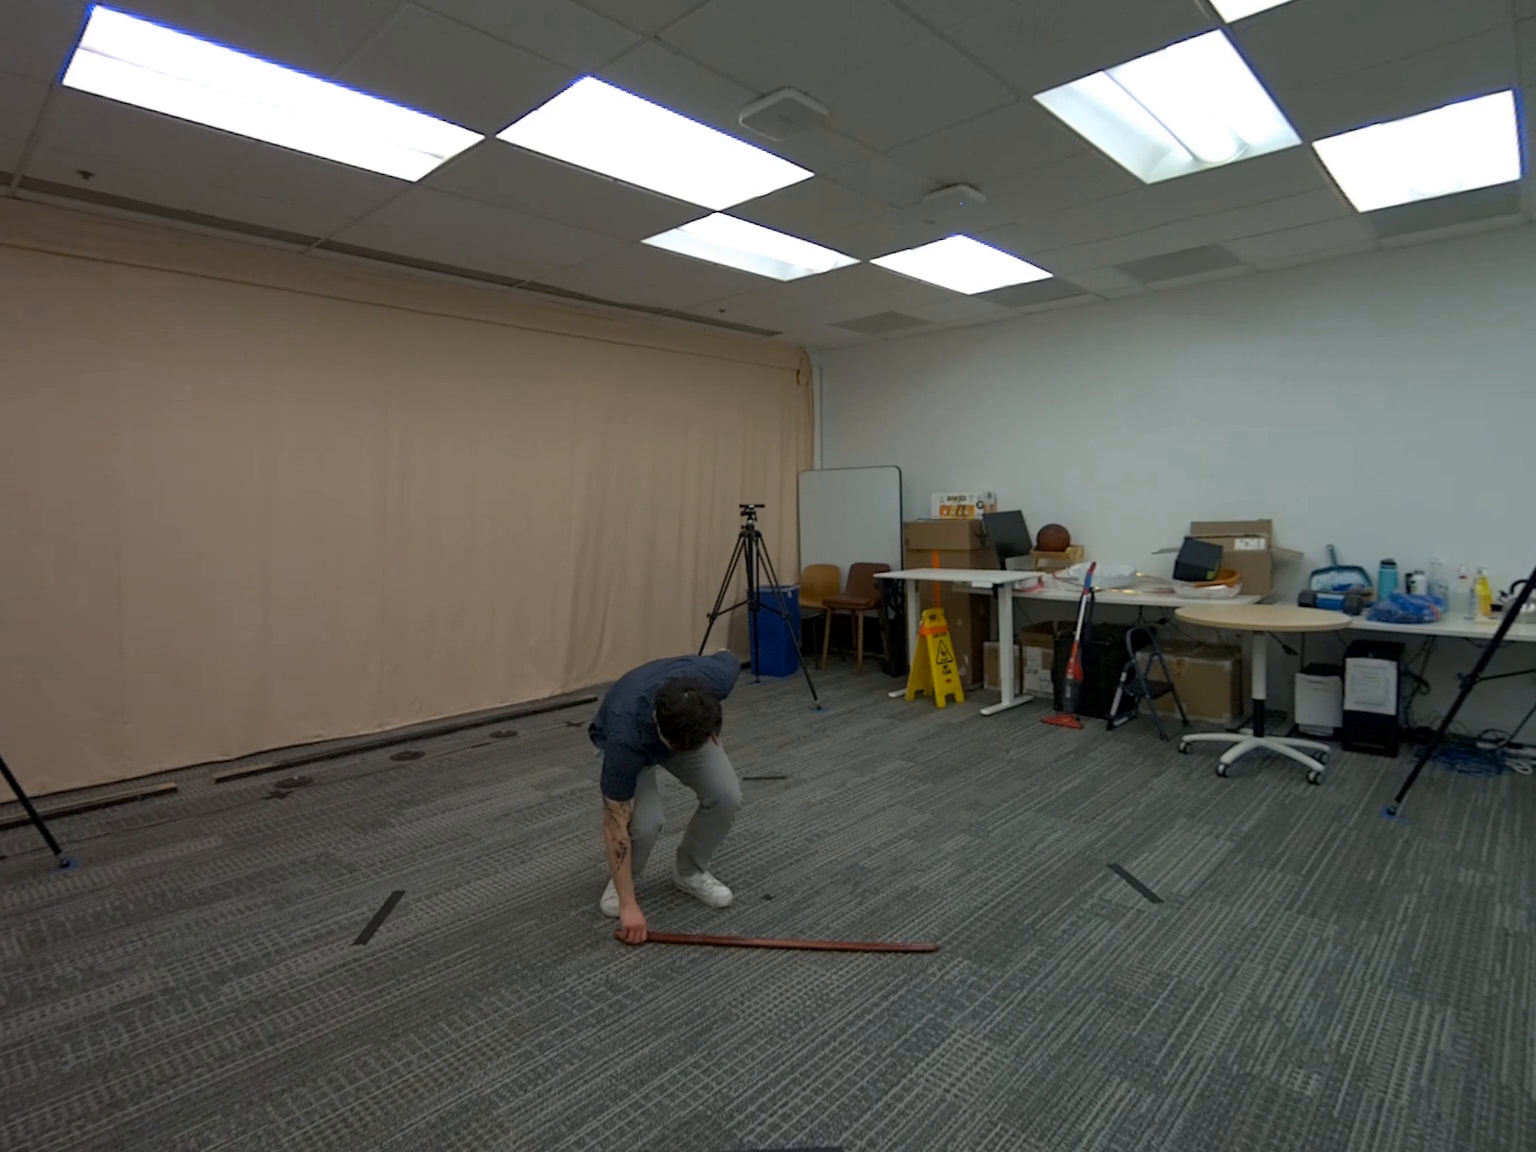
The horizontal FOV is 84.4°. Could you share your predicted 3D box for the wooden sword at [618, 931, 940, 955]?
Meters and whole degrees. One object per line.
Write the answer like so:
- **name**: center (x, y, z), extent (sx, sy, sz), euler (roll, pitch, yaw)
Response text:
- **wooden sword**: center (0.031, 1.144, 2.648), extent (1.032, 0.024, 0.052), euler (2, 29, 6)
